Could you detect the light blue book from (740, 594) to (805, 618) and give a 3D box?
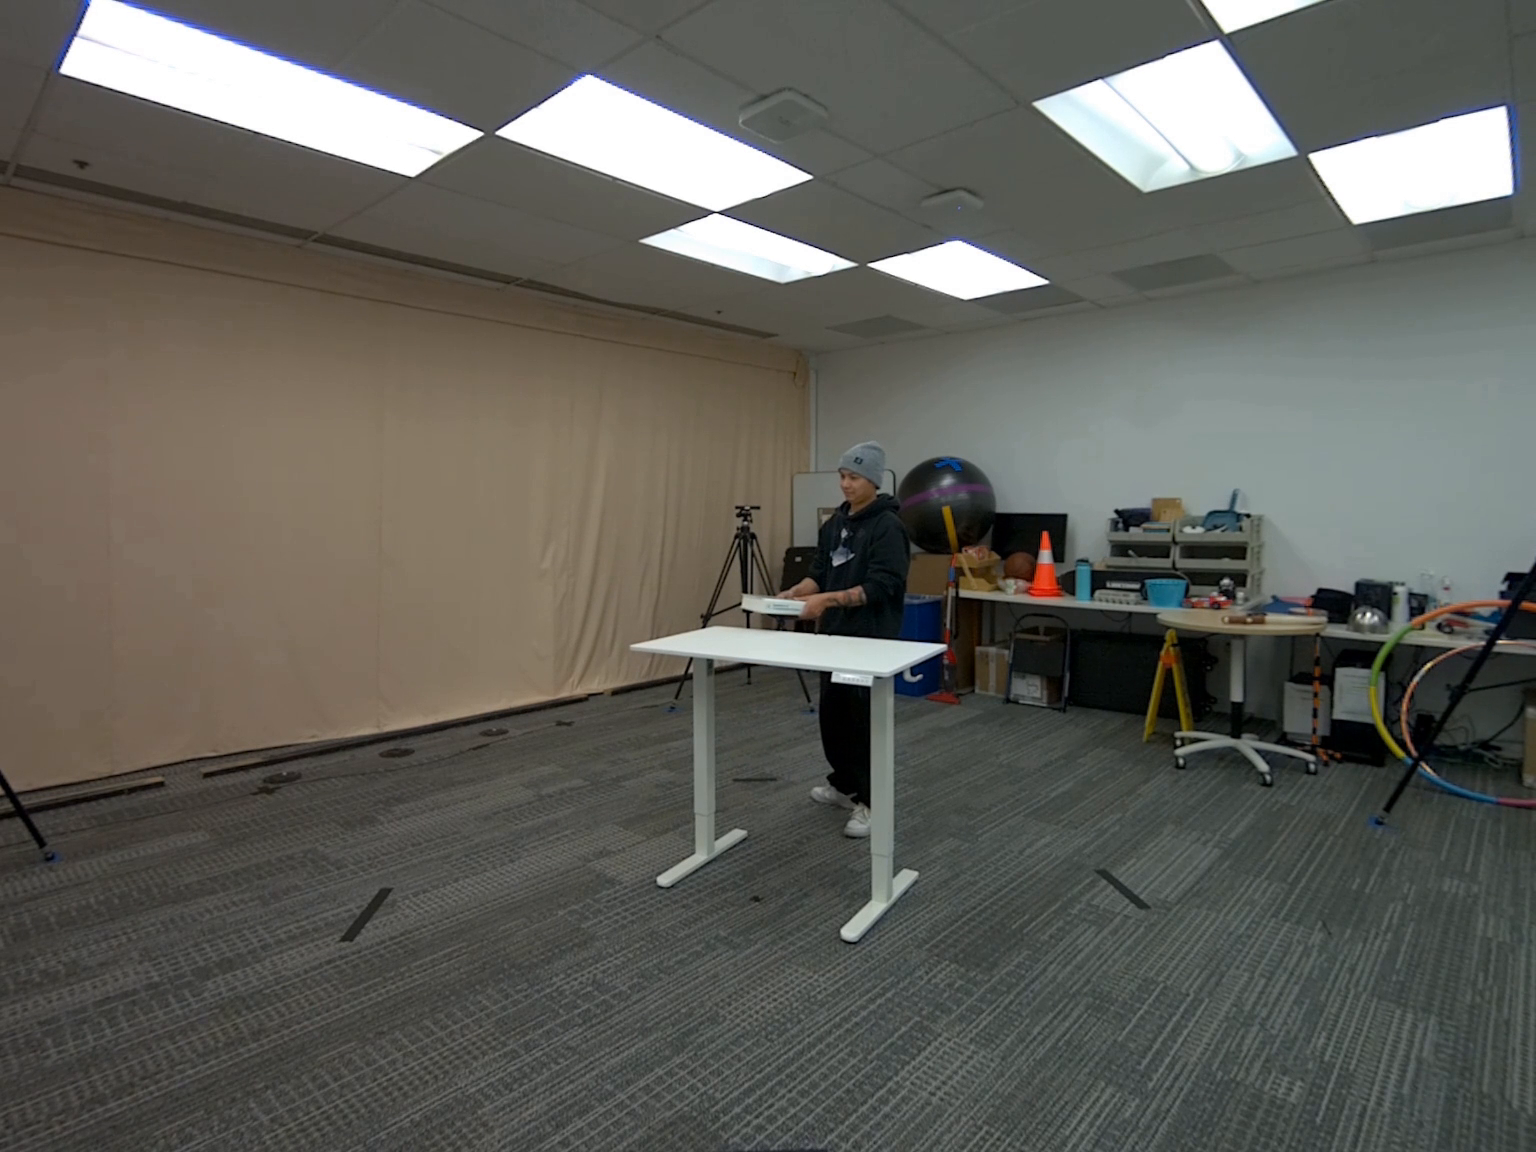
[{"bbox_3d":[0.040,0.127,3.524,0.258,0.059,0.194,6,2,-10],"label":"light blue book"}]
